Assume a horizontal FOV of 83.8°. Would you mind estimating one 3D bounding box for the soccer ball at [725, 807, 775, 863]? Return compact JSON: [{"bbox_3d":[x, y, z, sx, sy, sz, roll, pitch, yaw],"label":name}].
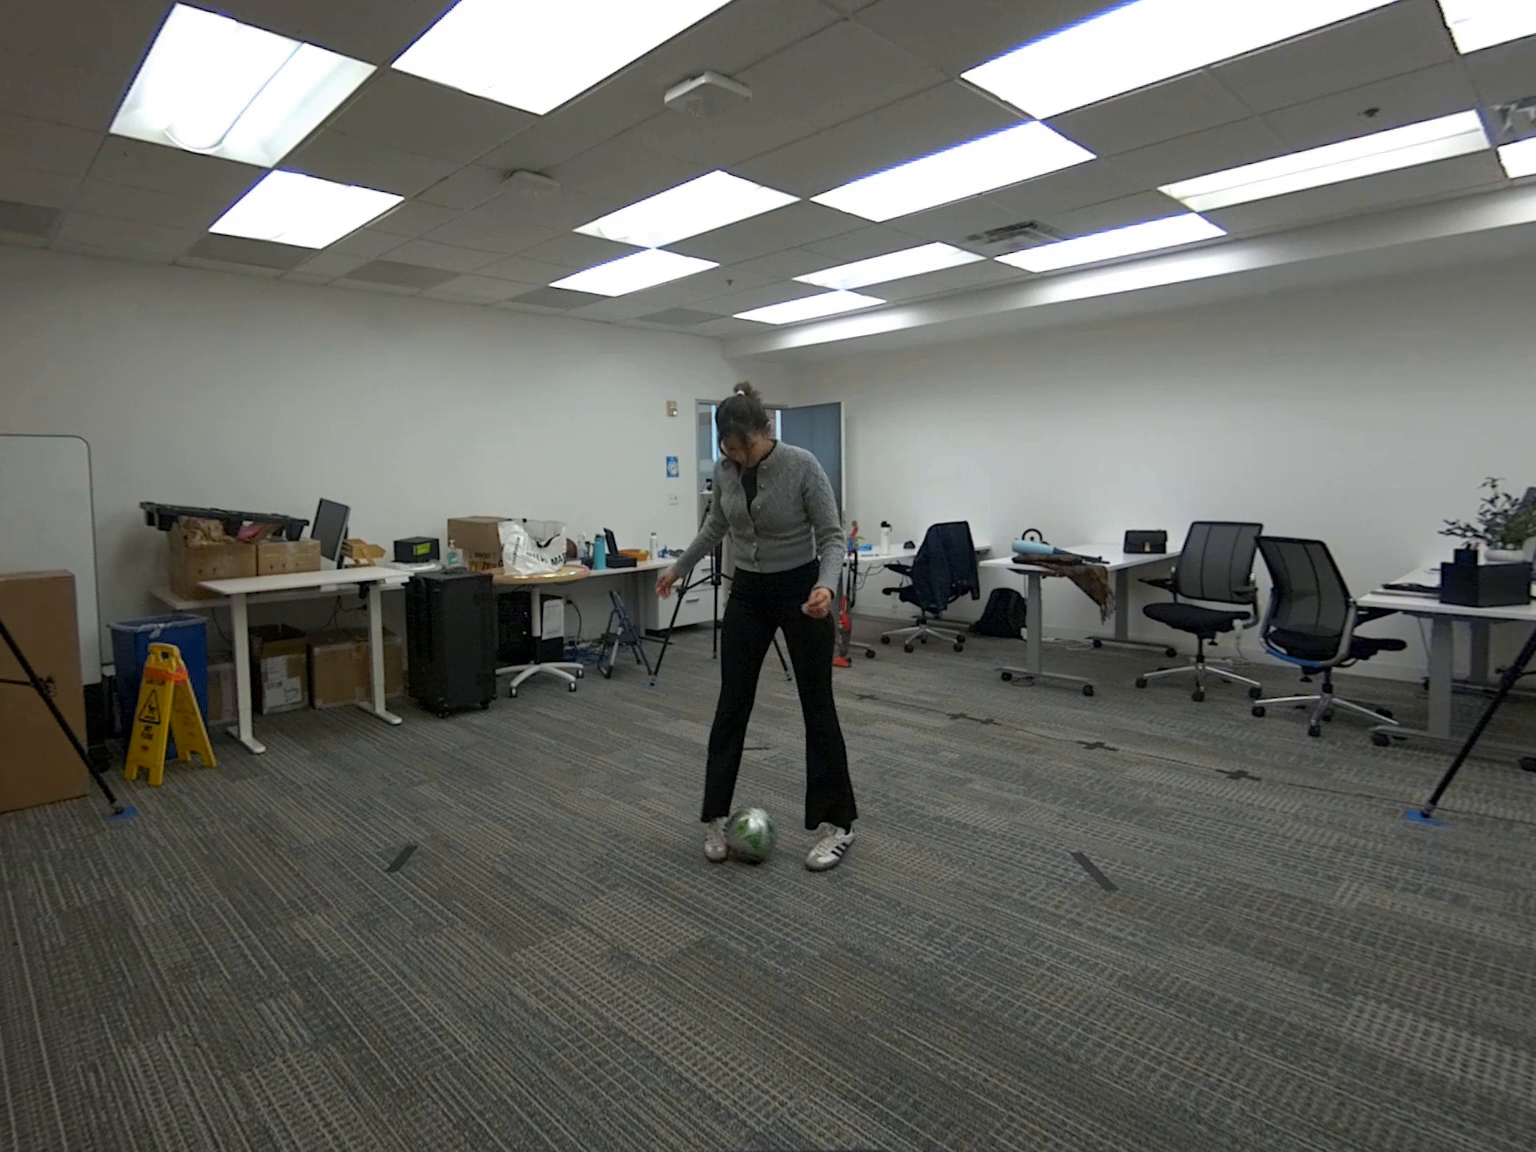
[{"bbox_3d":[-0.101,0.956,3.151,0.187,0.187,0.188,-1,5,-2],"label":"soccer ball"}]
